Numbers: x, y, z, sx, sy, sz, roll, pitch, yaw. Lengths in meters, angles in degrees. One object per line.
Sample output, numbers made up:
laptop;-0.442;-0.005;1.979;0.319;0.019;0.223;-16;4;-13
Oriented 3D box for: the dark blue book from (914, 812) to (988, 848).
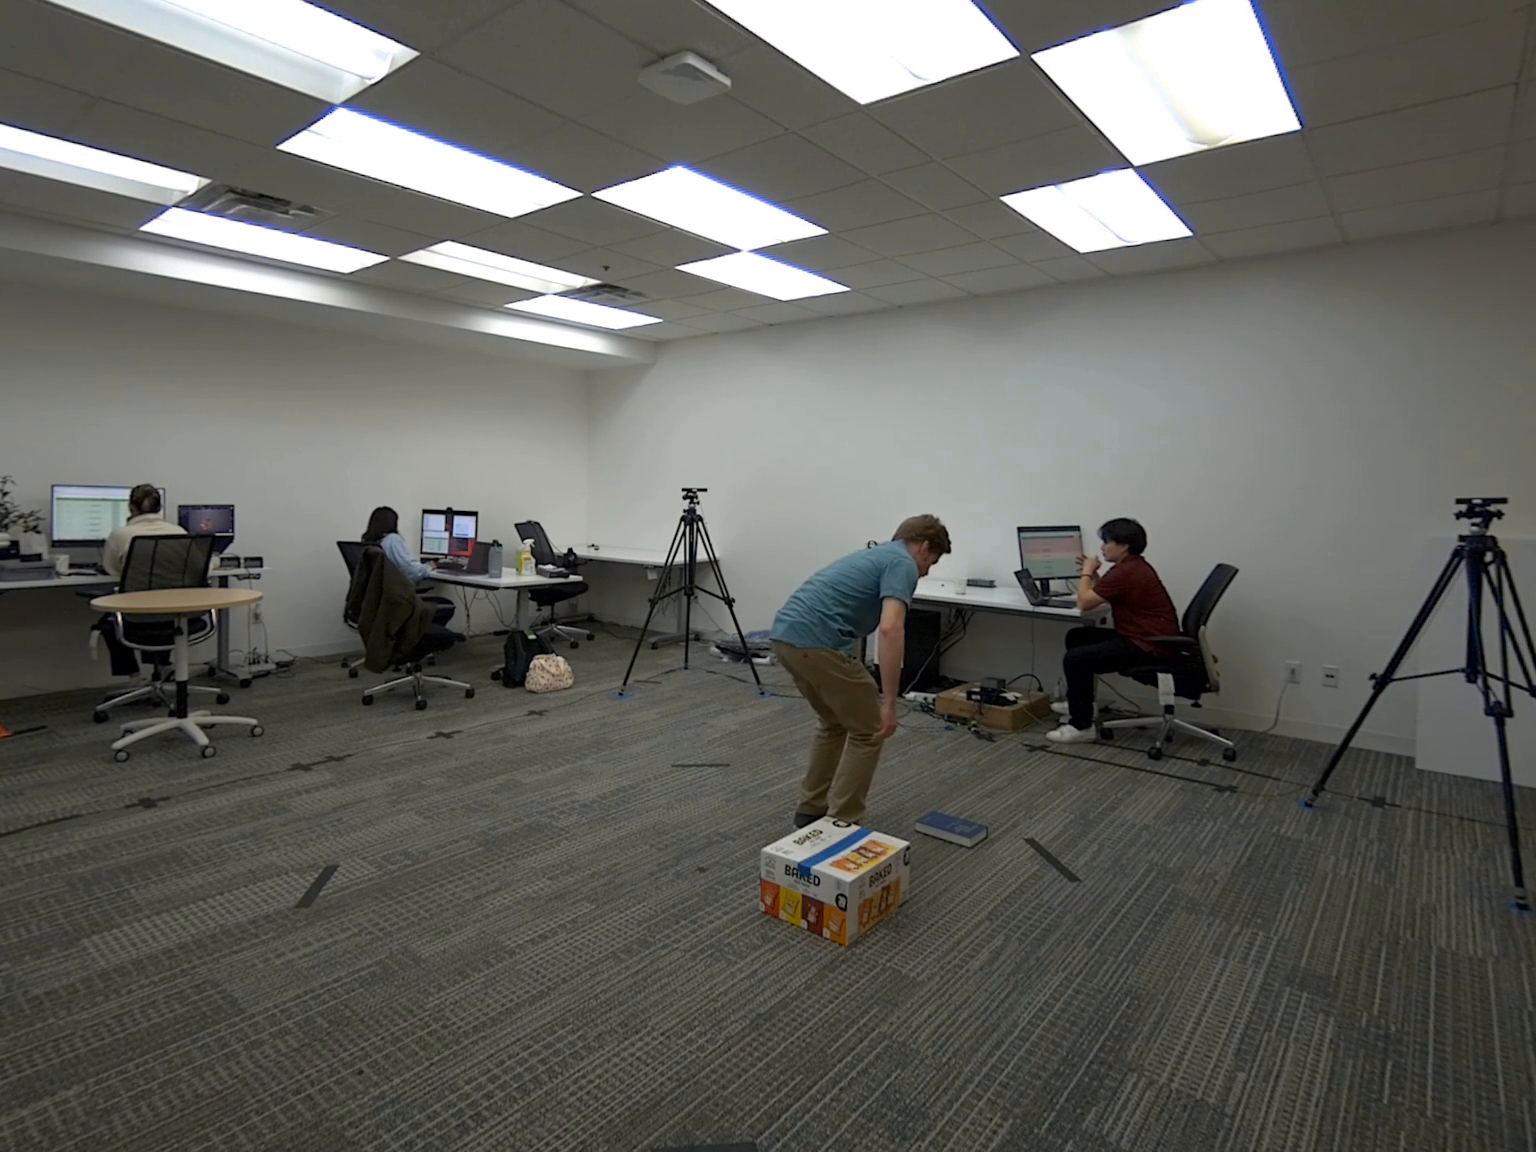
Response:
dark blue book;0.742;1.035;3.485;0.253;0.045;0.158;7;8;39
